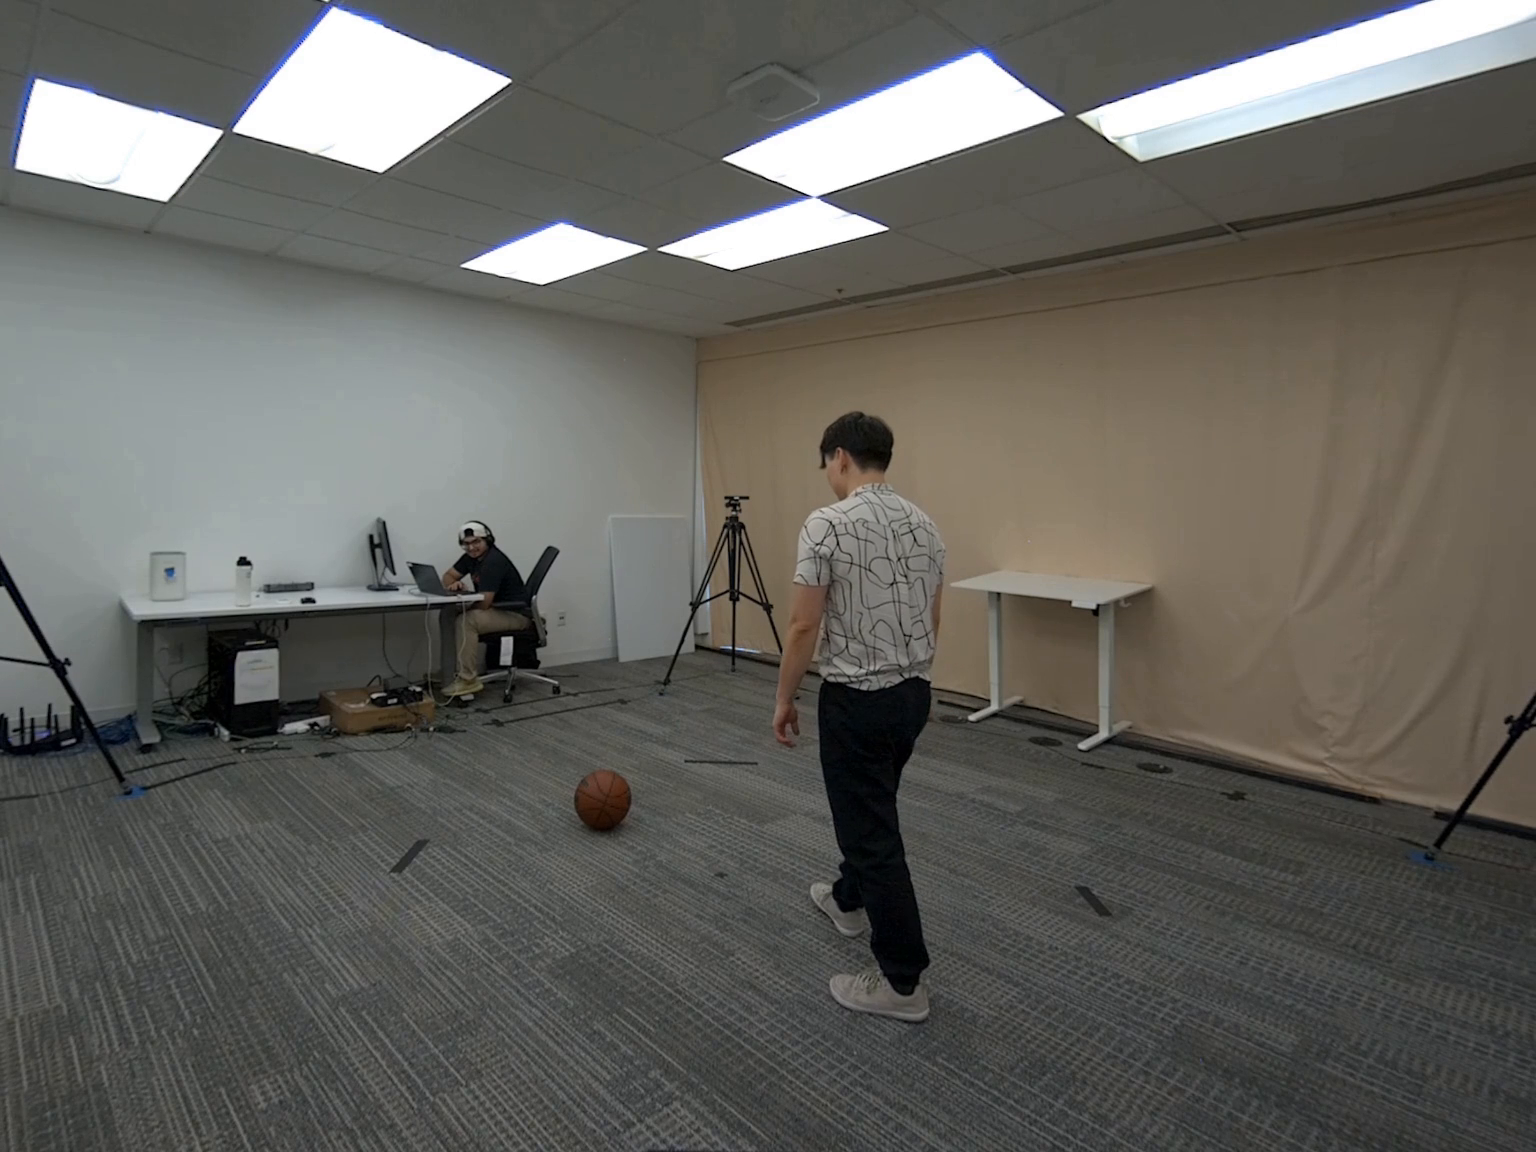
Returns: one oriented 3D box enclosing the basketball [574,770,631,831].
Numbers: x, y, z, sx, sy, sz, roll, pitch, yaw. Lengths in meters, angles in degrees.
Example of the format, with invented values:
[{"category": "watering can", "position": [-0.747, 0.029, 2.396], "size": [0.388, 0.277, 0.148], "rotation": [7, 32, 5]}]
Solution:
[{"category": "basketball", "position": [-0.698, 0.933, 3.518], "size": [0.236, 0.235, 0.237], "rotation": [1, 4, -1]}]
